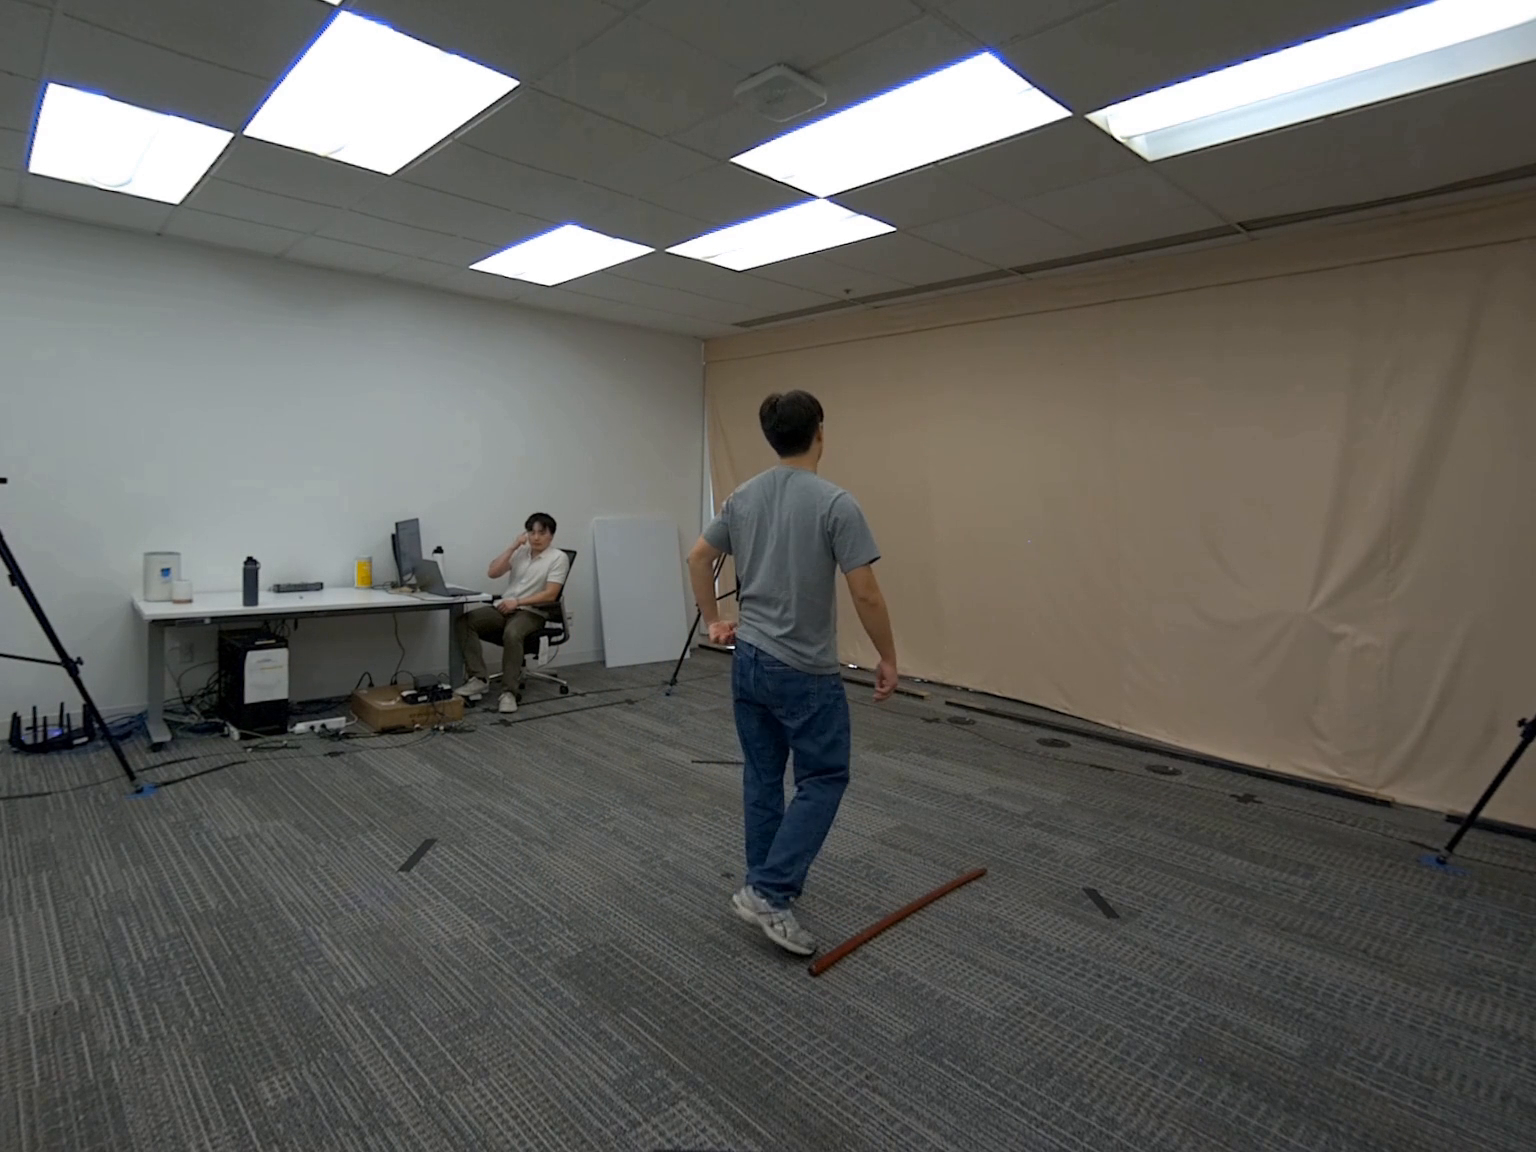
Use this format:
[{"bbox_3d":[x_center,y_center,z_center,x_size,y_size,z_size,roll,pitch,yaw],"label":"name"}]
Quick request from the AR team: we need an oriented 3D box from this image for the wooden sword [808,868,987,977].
[{"bbox_3d":[0.453,1.124,2.837,0.053,0.024,1.001,20,16,42],"label":"wooden sword"}]
